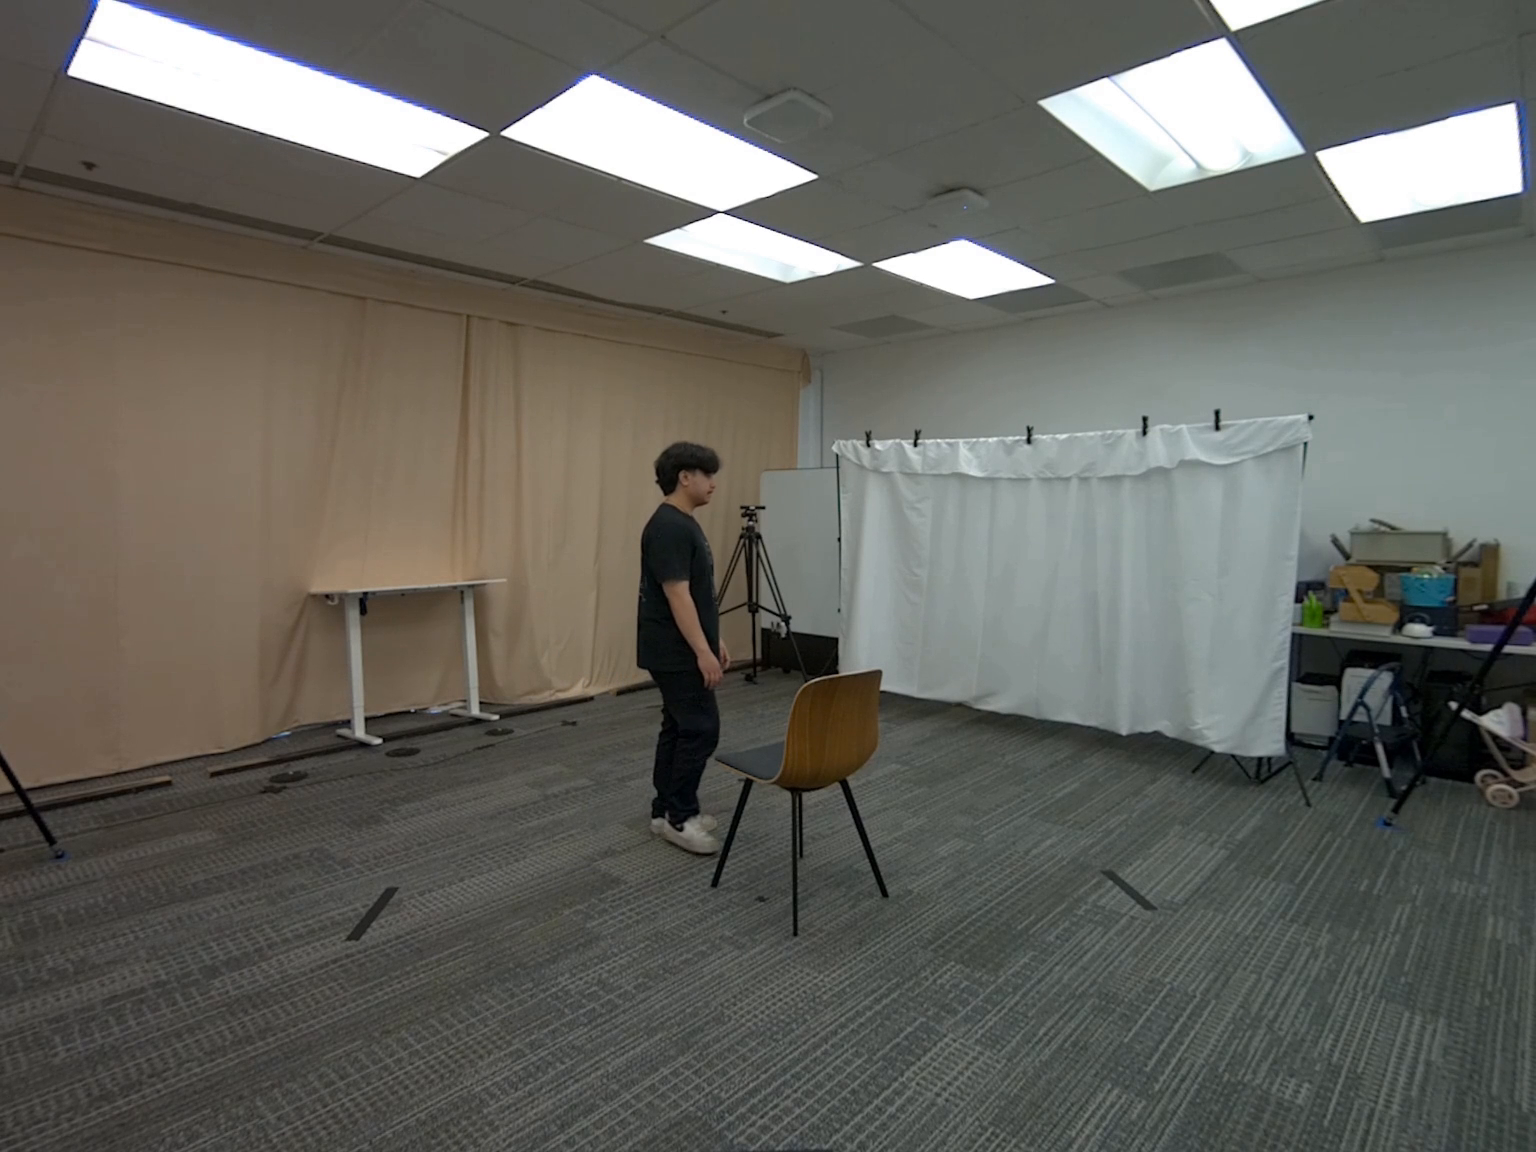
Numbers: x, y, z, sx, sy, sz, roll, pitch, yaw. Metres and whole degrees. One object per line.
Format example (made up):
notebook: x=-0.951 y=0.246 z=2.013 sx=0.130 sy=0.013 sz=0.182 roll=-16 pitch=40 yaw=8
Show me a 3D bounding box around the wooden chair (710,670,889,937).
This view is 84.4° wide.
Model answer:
wooden chair: x=0.106 y=0.713 z=3.007 sx=0.464 sy=0.874 sz=0.541 roll=-3 pitch=9 yaw=-39
